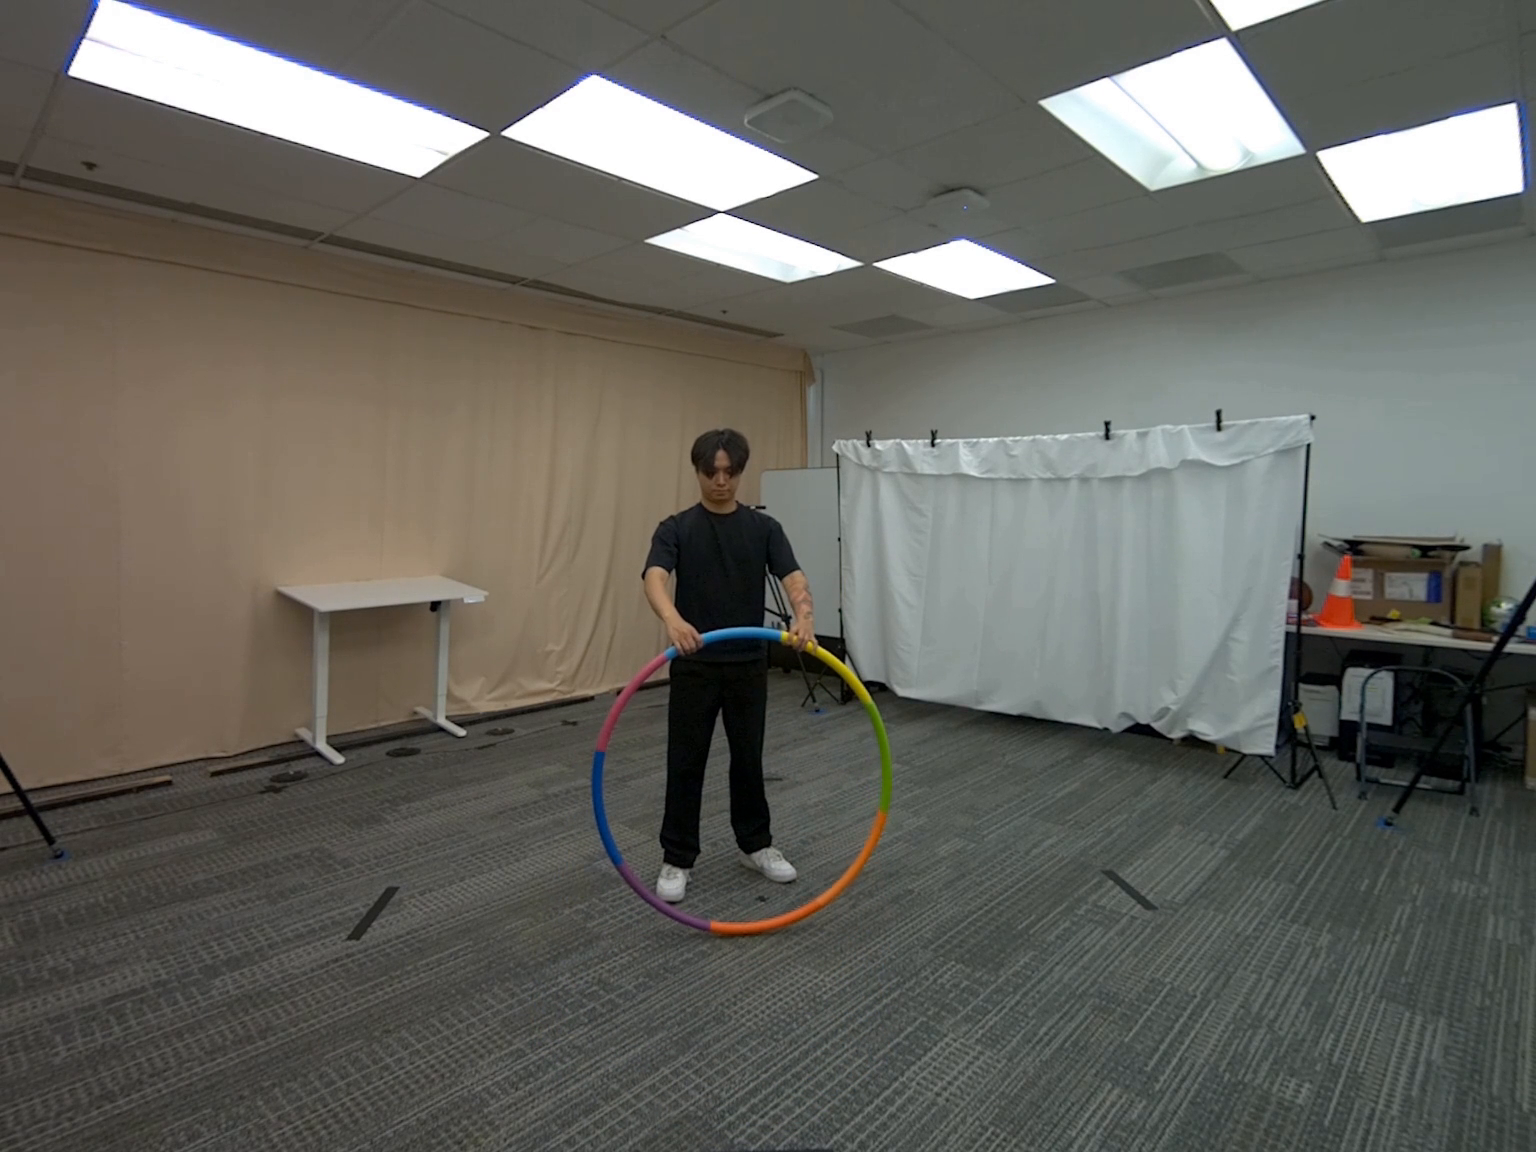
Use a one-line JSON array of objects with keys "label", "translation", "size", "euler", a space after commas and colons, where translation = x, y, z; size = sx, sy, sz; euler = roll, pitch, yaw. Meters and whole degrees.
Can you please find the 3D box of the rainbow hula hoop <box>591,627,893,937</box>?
[{"label": "rainbow hula hoop", "translation": [-0.067, 0.671, 2.704], "size": [0.970, 0.976, 0.036], "euler": [0, 4, -7]}]
